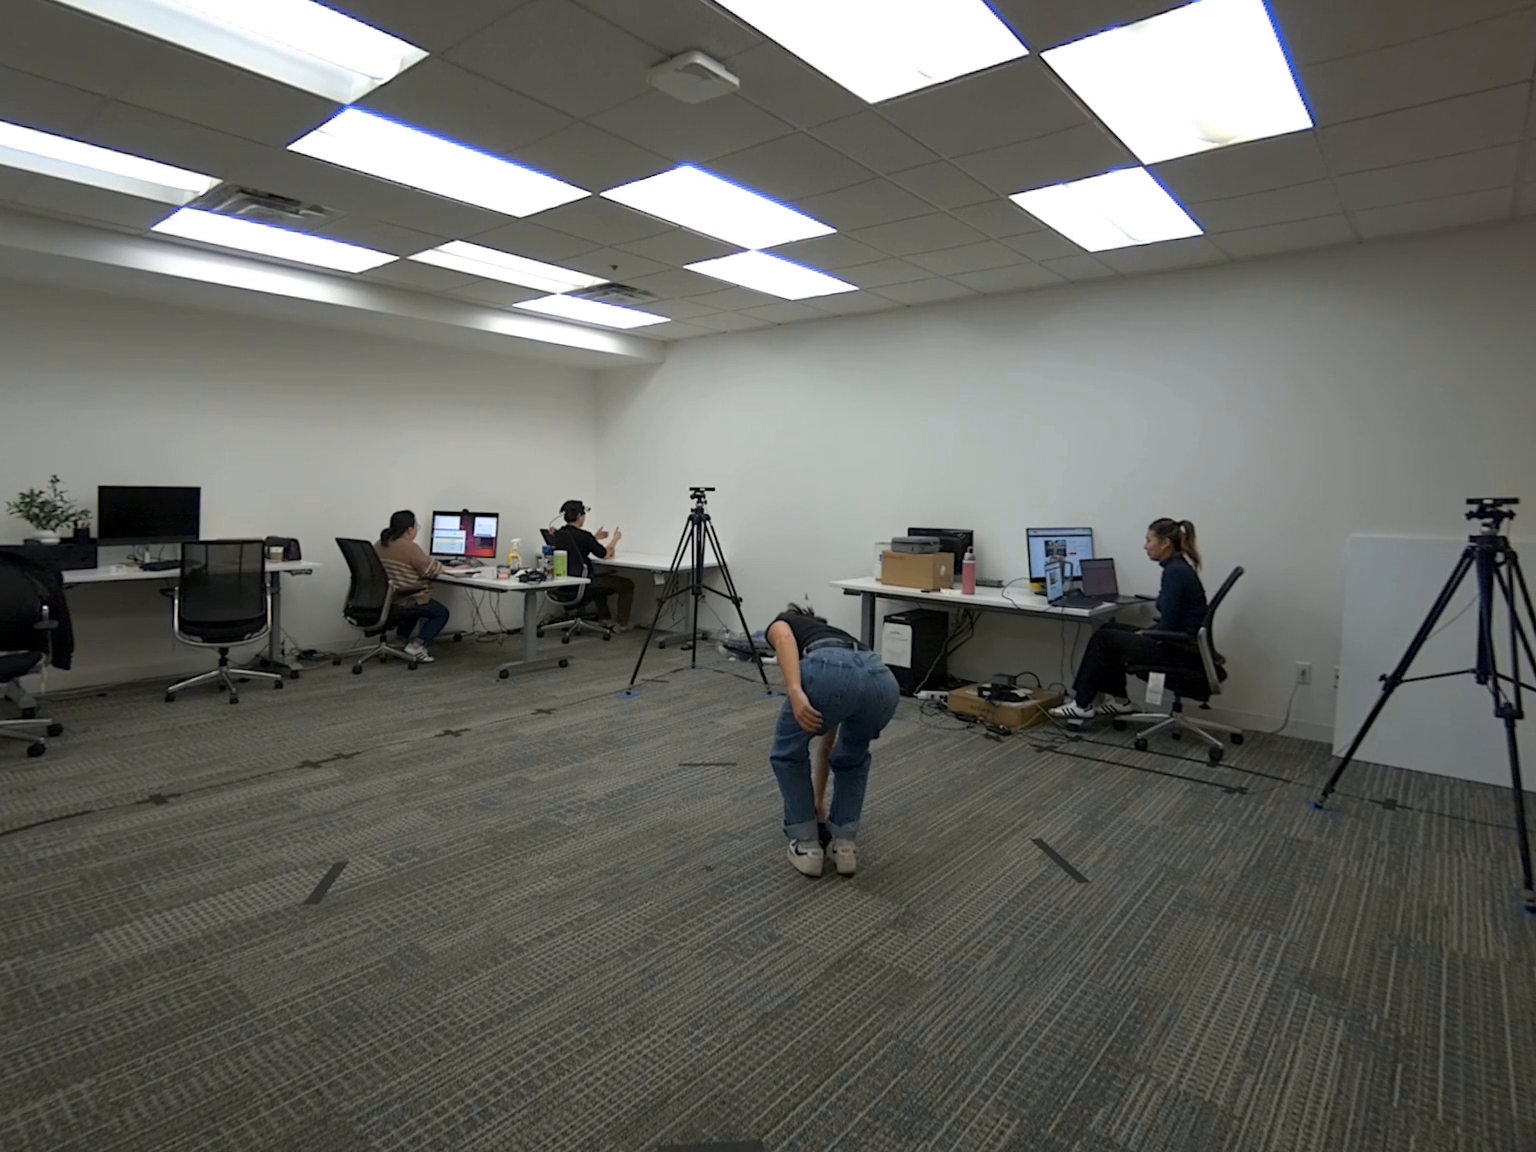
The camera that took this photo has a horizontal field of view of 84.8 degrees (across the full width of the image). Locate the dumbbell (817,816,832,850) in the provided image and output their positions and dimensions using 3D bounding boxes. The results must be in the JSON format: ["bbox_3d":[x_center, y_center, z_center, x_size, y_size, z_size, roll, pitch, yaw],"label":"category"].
[{"bbox_3d":[0.169,0.982,3.421,0.108,0.122,0.296,-21,7,-3],"label":"dumbbell"}]
